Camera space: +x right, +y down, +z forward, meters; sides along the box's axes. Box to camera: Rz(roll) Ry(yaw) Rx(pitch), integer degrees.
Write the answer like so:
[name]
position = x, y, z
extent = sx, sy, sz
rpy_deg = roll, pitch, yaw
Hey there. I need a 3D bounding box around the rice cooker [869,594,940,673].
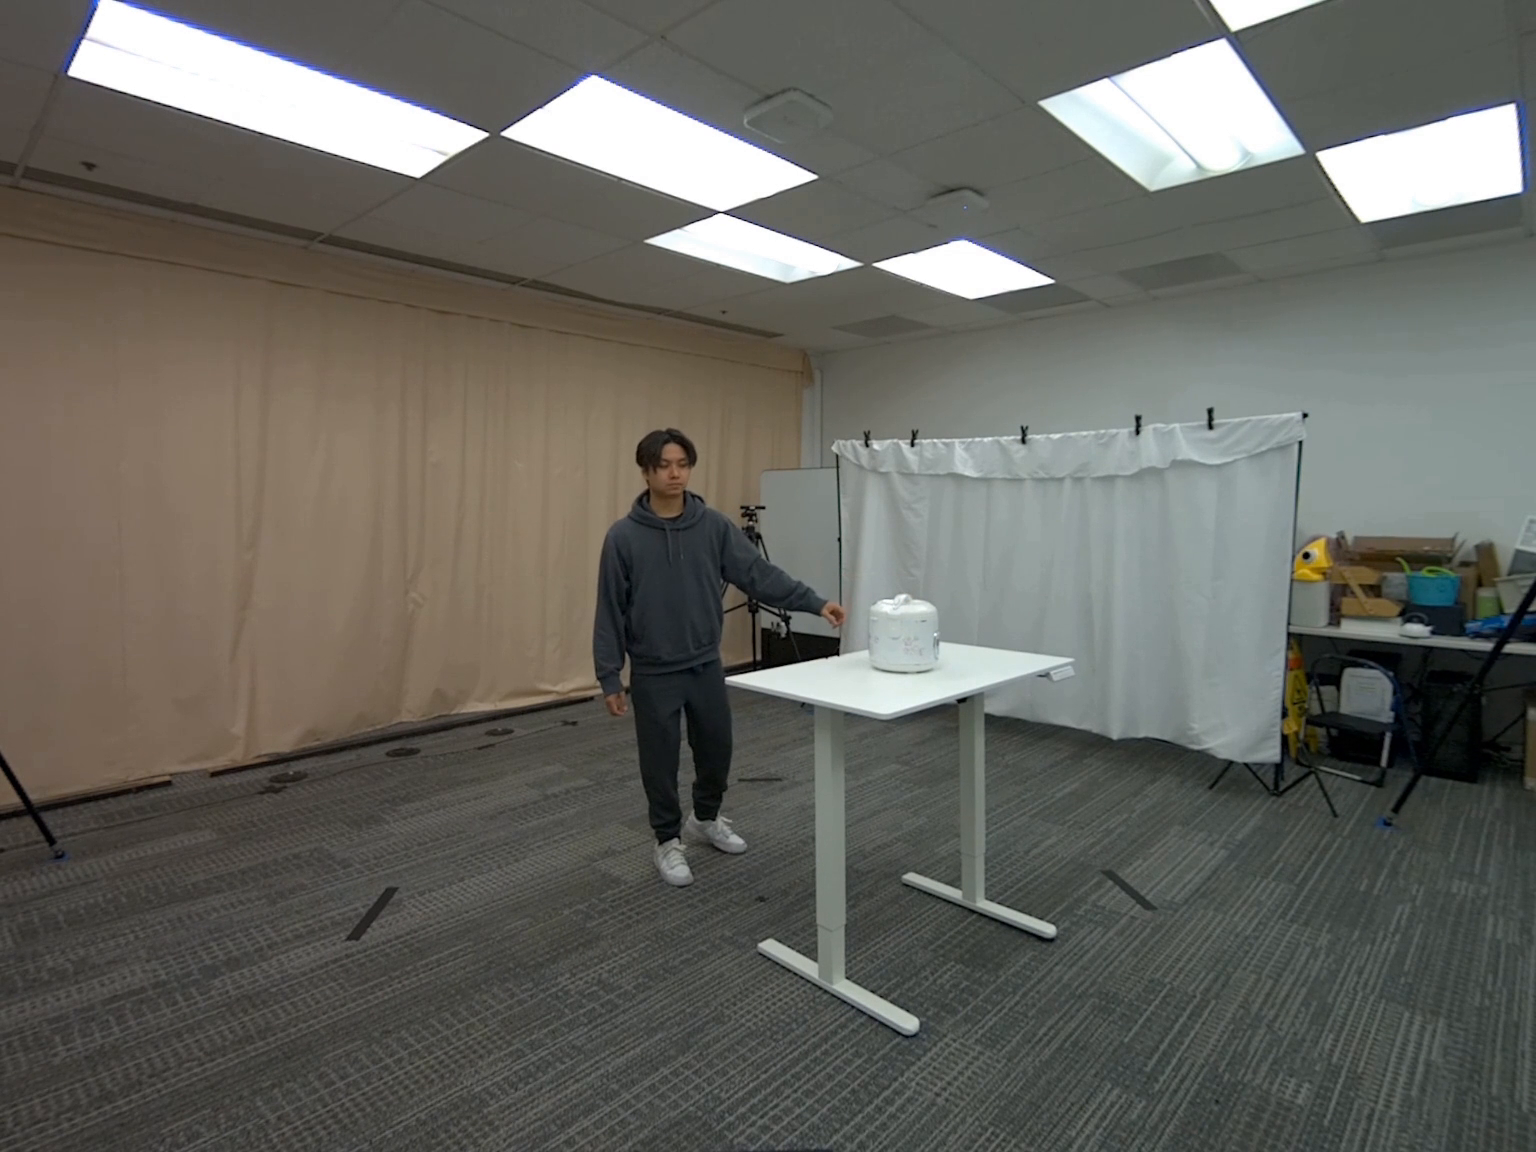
[rice cooker]
position = 0.430, 0.175, 2.622
extent = 0.223, 0.232, 0.215
rpy_deg = -1, 4, 26
